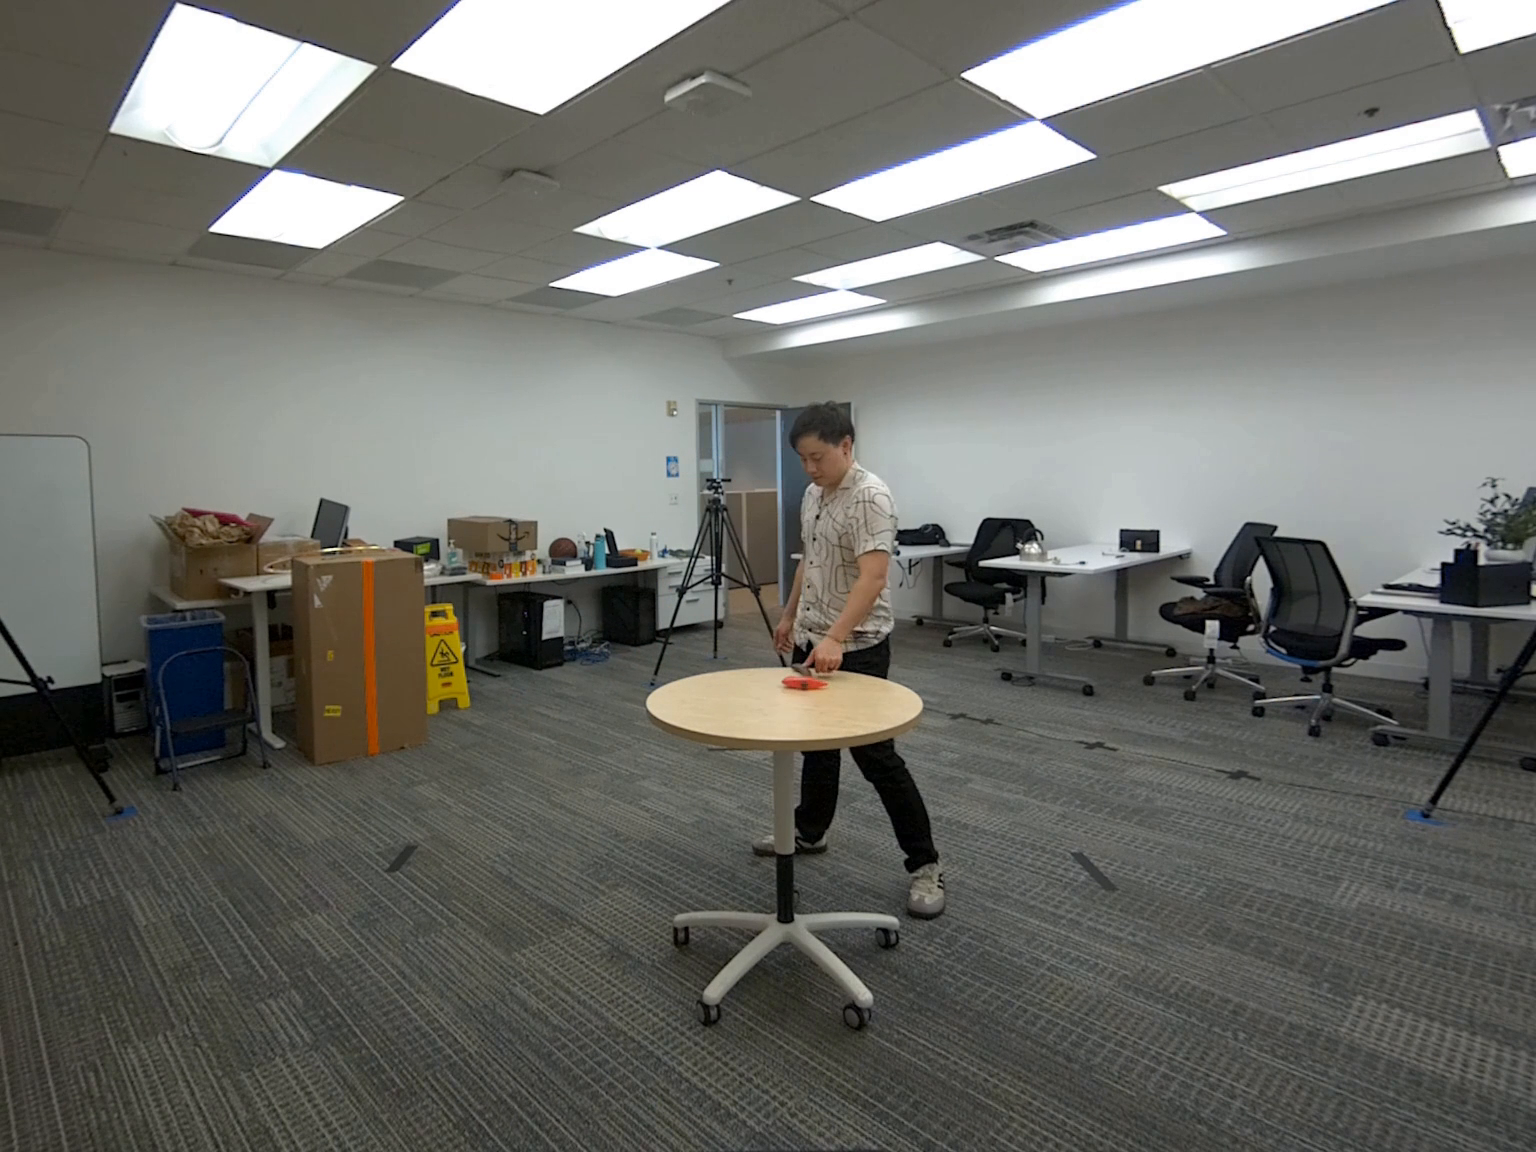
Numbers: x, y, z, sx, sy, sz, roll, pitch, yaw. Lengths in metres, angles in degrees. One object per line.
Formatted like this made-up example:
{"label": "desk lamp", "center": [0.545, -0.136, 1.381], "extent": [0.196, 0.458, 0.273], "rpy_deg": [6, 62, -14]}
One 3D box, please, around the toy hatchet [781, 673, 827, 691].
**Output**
{"label": "toy hatchet", "center": [0.088, 0.306, 2.600], "extent": [0.130, 0.029, 0.274], "rpy_deg": [-3, 6, -12]}
